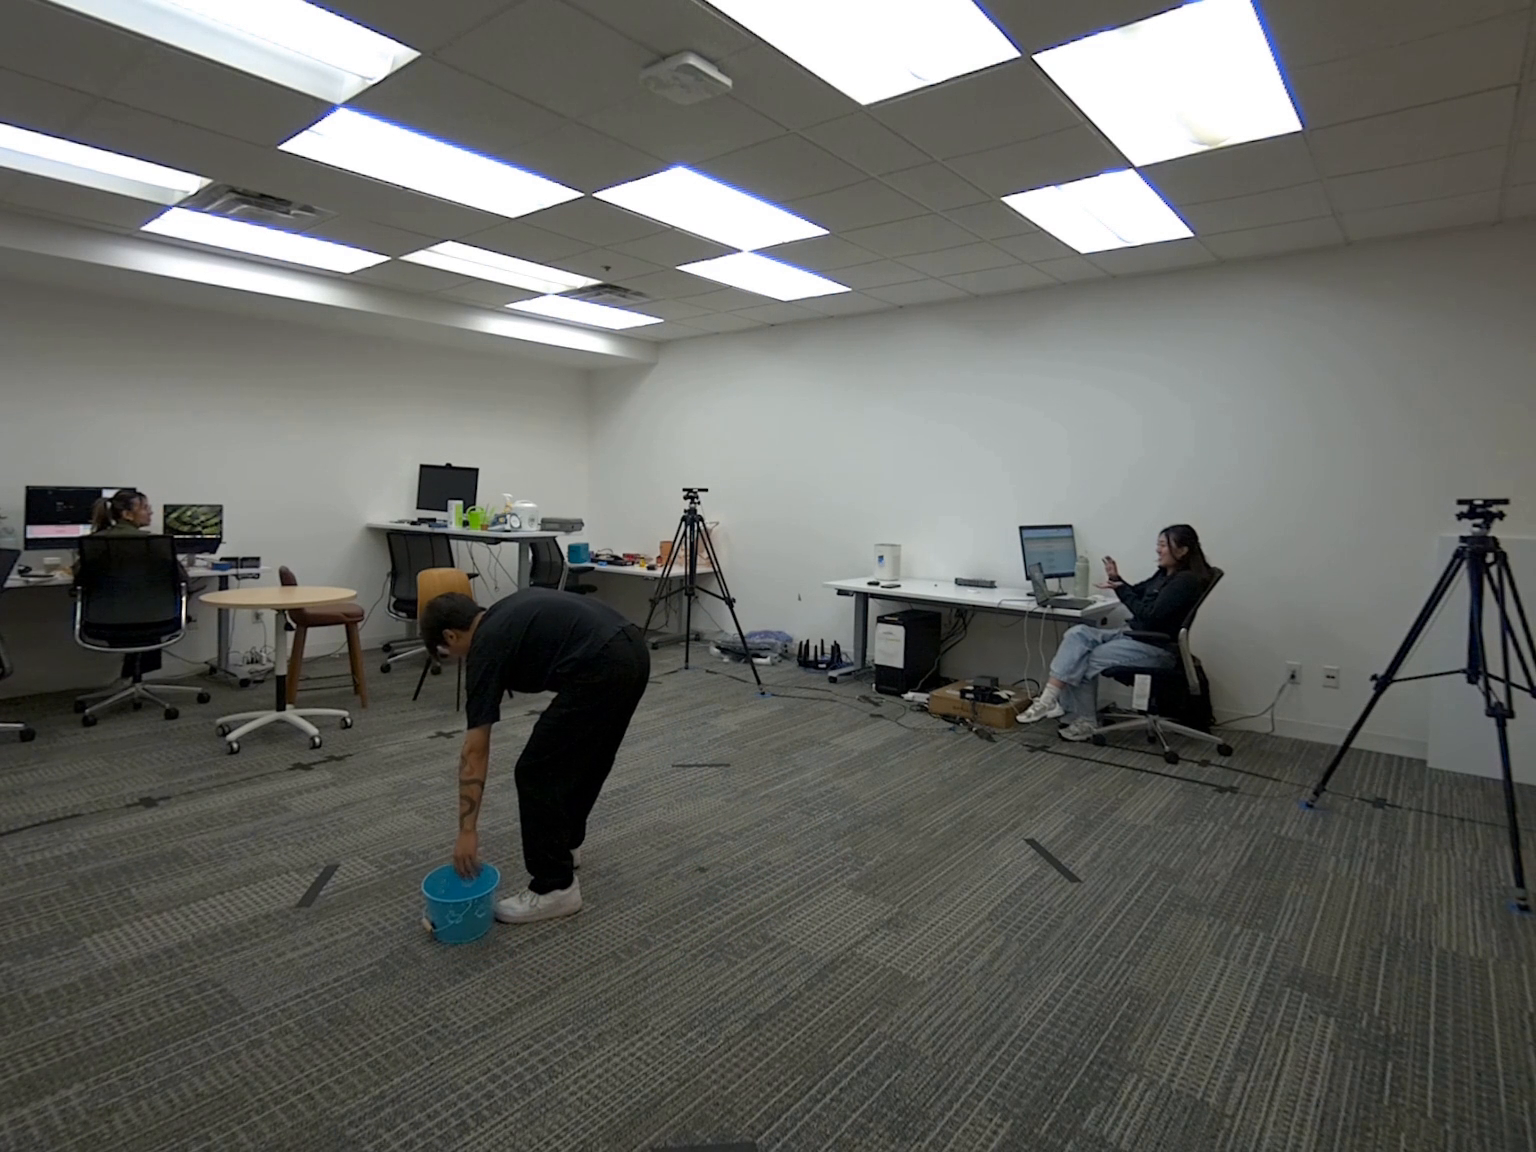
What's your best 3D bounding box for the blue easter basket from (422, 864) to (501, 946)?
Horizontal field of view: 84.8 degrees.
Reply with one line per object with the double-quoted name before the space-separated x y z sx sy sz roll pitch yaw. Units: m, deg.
"blue easter basket" -0.968 1.024 2.656 0.243 0.155 0.246 2 9 -2
